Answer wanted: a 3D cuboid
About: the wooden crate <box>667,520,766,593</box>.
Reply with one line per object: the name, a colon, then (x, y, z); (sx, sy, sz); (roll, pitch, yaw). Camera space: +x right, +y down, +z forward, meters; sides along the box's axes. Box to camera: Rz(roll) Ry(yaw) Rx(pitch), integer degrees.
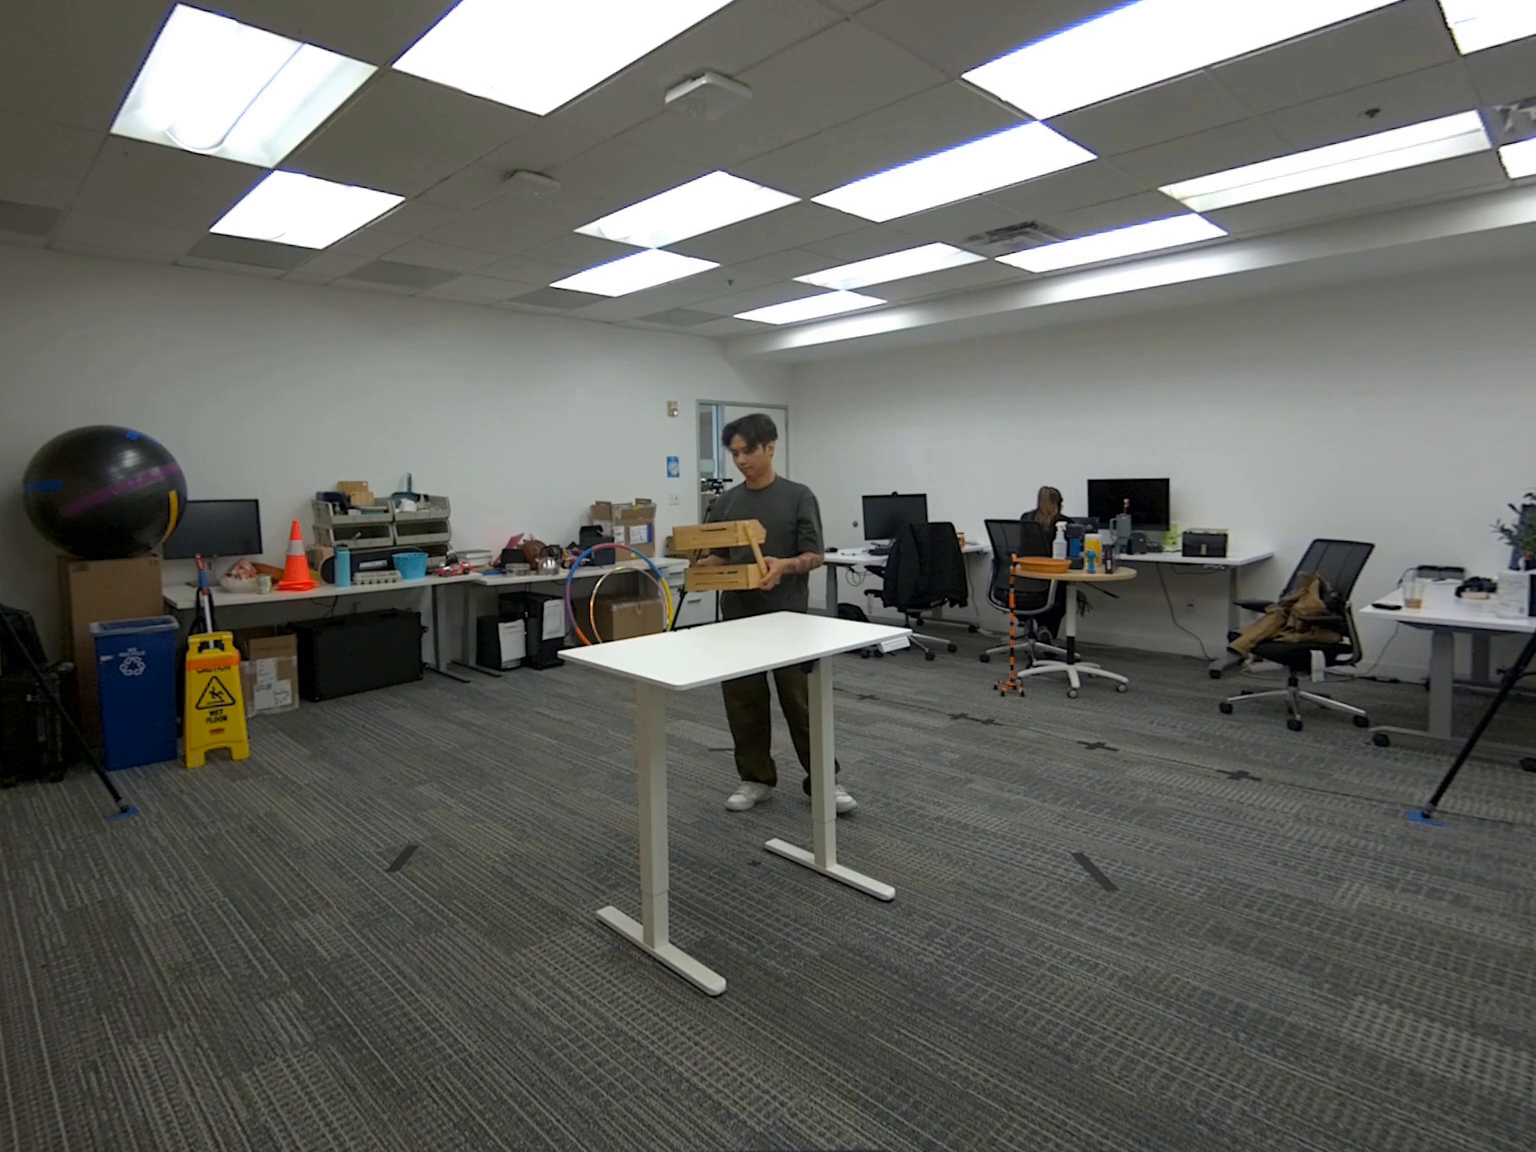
wooden crate: (-0.163, -0.085, 3.397); (0.332, 0.273, 0.295); (-4, 2, 31)
